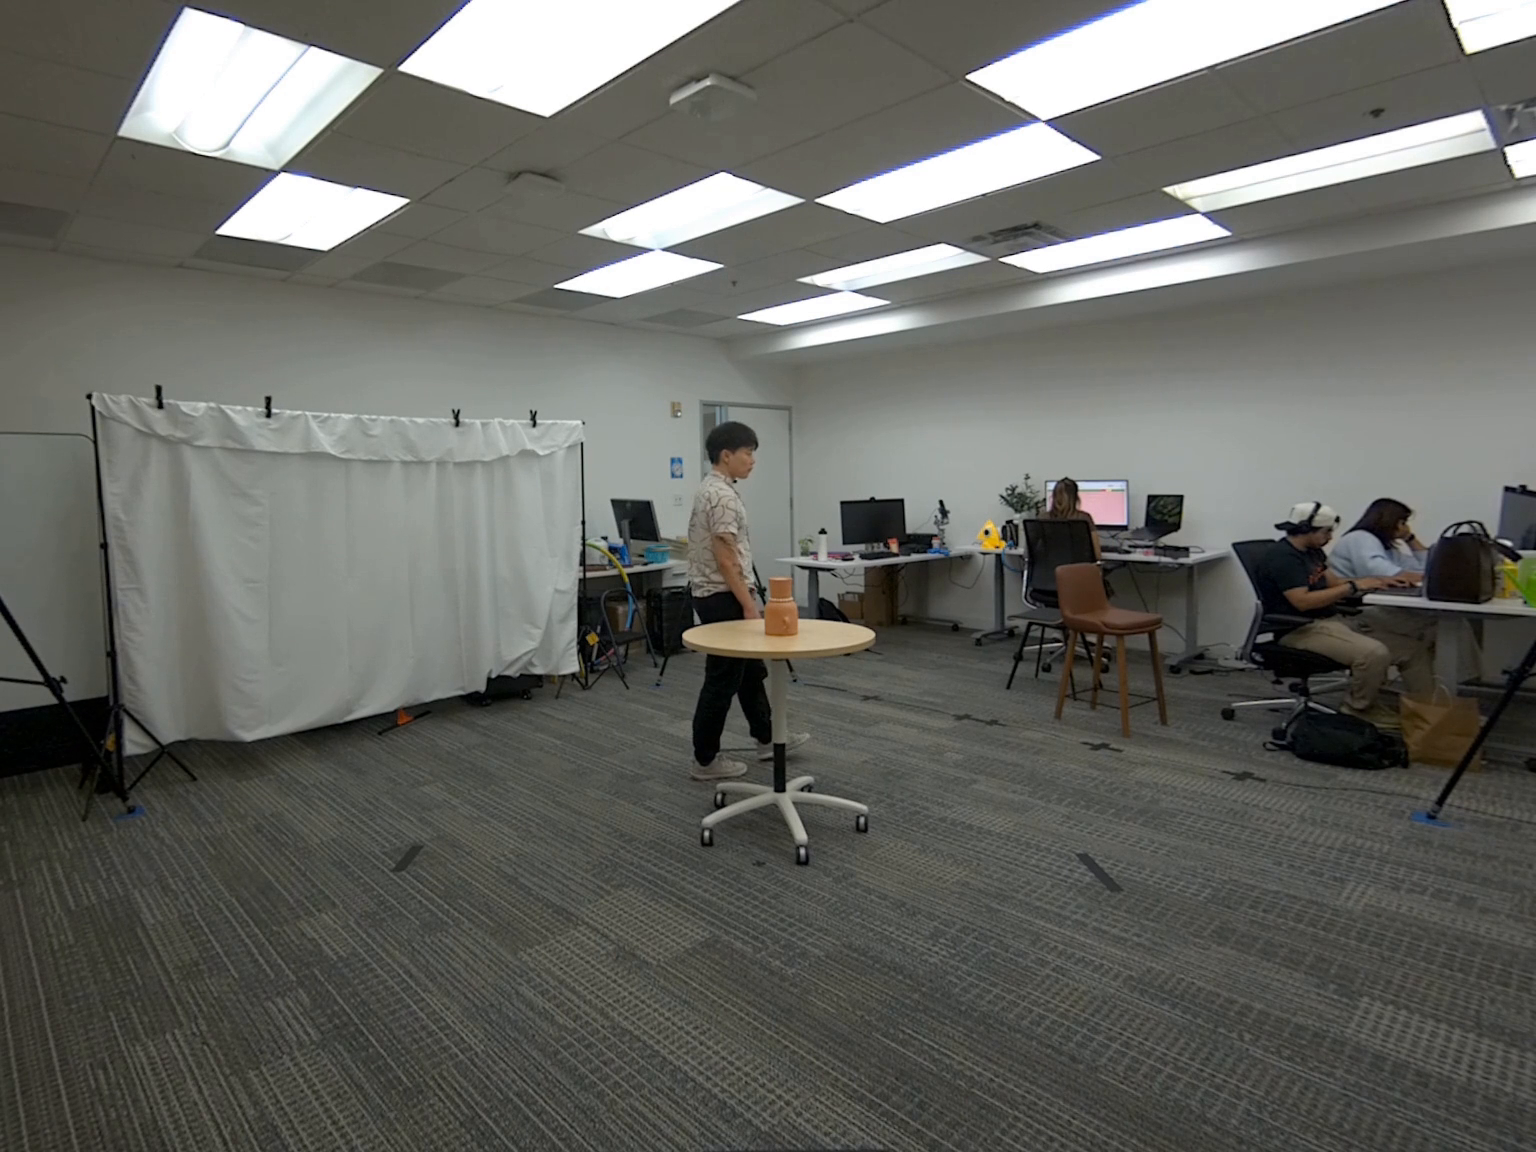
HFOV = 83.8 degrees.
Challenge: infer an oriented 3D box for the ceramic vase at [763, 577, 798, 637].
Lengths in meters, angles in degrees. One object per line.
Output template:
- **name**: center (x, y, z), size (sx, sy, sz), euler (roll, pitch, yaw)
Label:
- **ceramic vase**: center (0.056, 0.121, 3.414), size (0.163, 0.219, 0.131), euler (2, 4, 38)
